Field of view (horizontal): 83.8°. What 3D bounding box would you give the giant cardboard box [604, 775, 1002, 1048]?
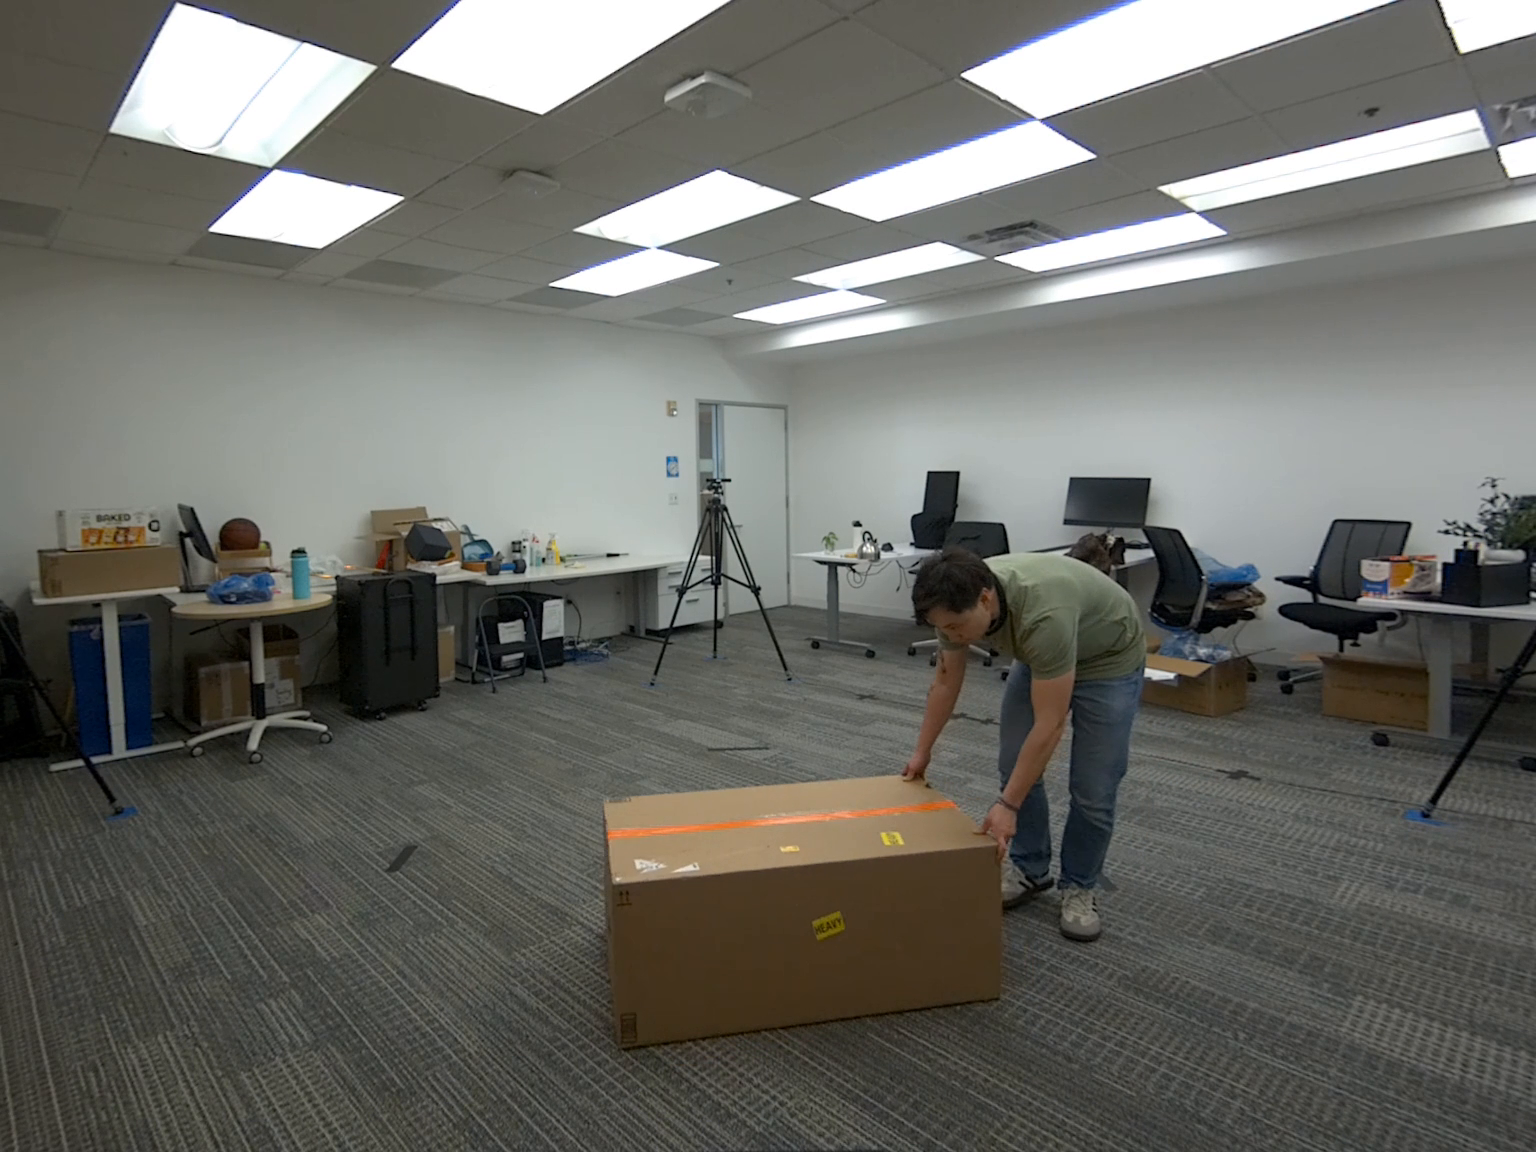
[{"bbox_3d":[0.051,0.906,2.449,1.015,0.424,0.586,-3,6,-11],"label":"giant cardboard box"}]
